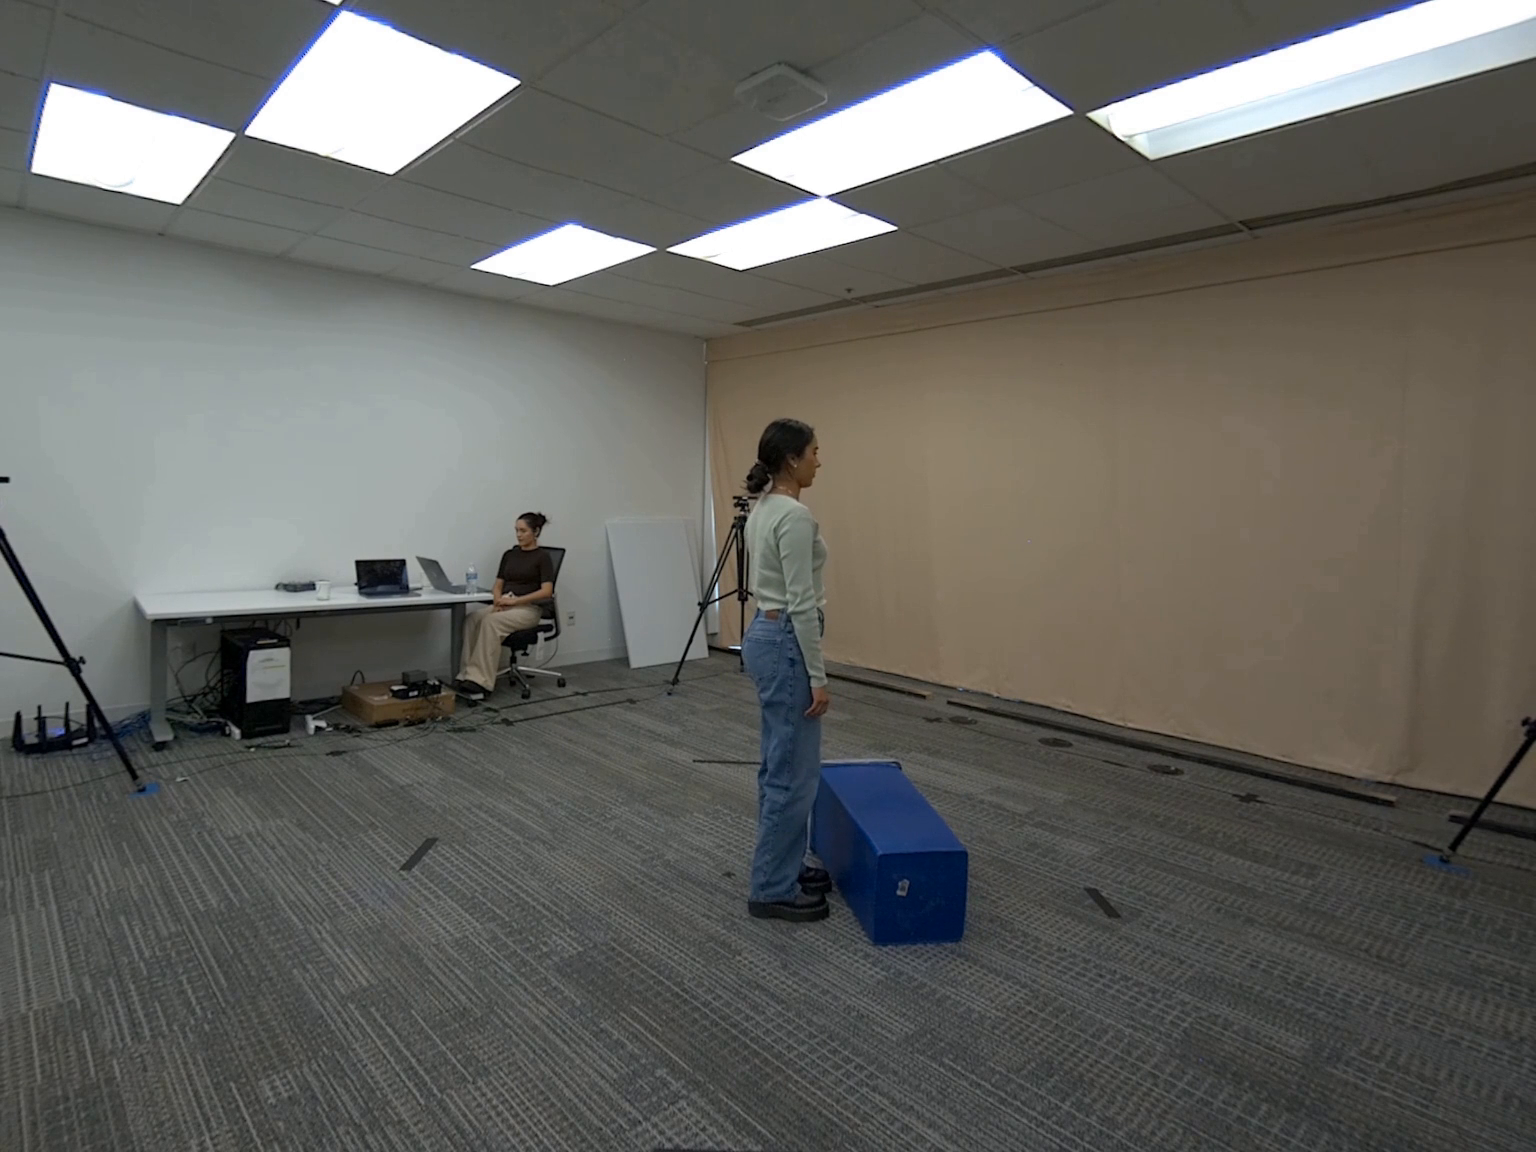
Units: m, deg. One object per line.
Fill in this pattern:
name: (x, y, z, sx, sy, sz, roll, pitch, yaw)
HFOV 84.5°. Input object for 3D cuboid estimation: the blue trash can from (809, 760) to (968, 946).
blue trash can: (0.400, 0.949, 2.985, 0.371, 0.376, 0.722, 0, 7, -10)
